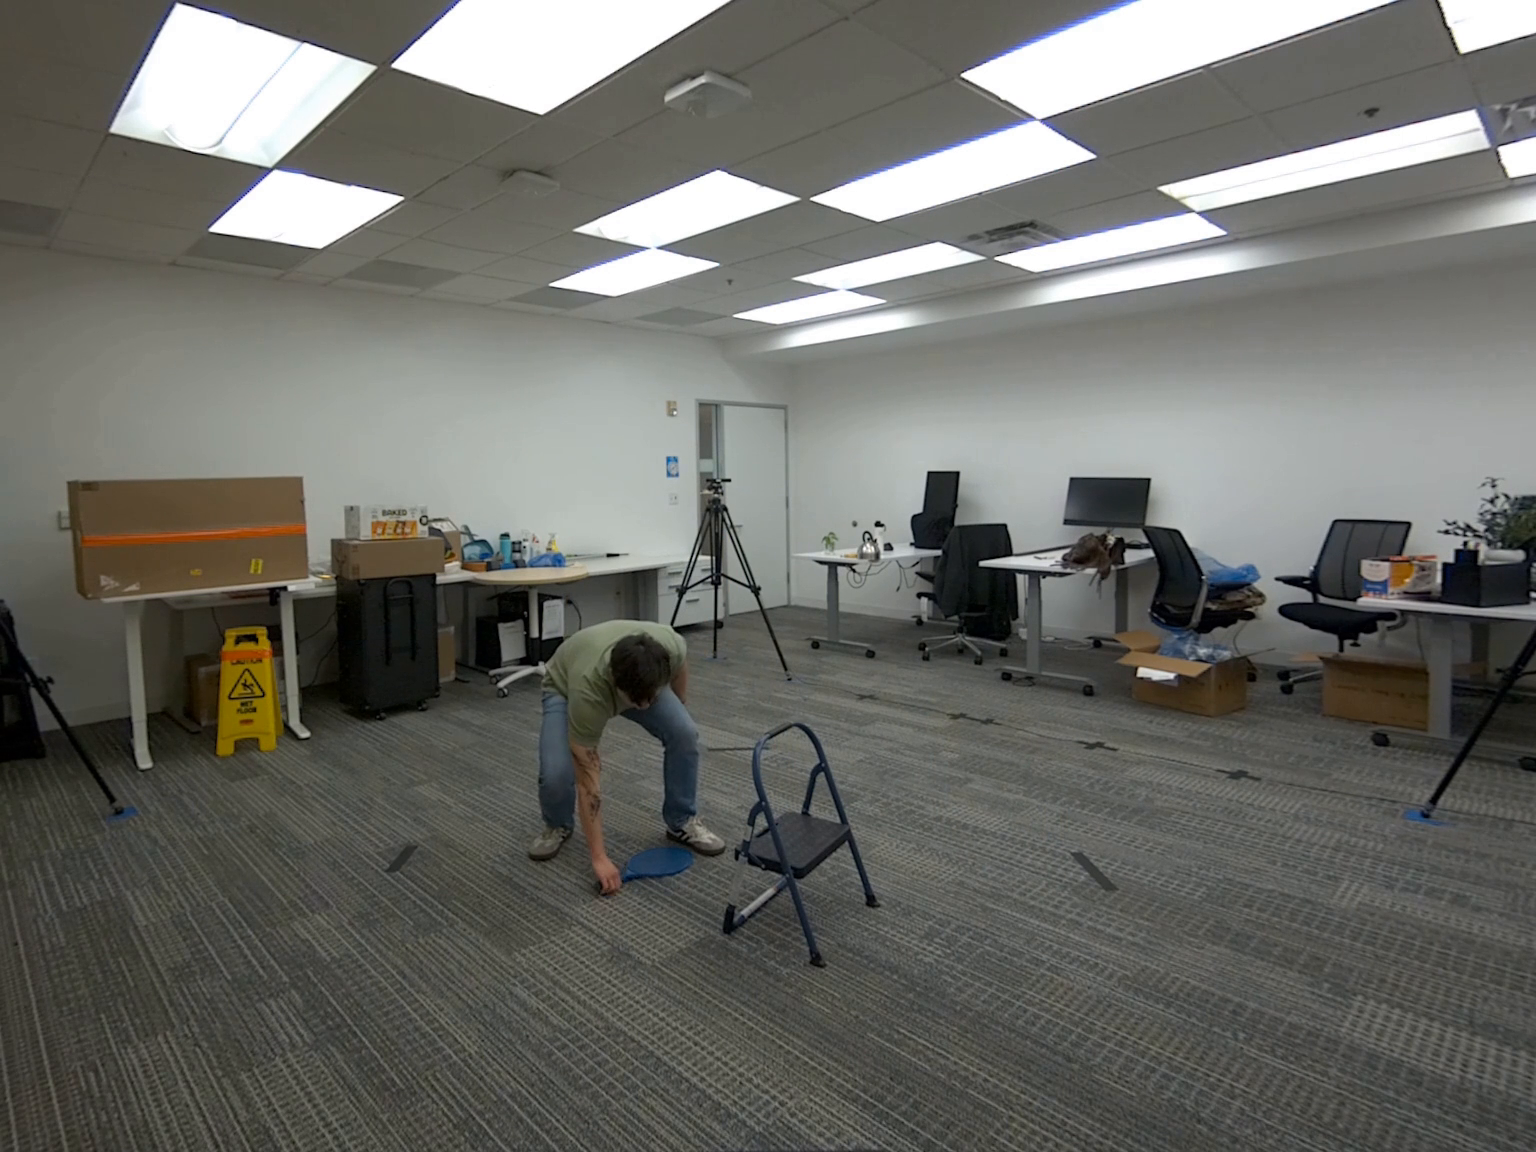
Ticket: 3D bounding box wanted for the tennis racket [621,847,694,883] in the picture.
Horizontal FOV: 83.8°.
[{"bbox_3d":[-0.440,1.028,3.059,0.220,0.031,0.421,5,6,42],"label":"tennis racket"}]
